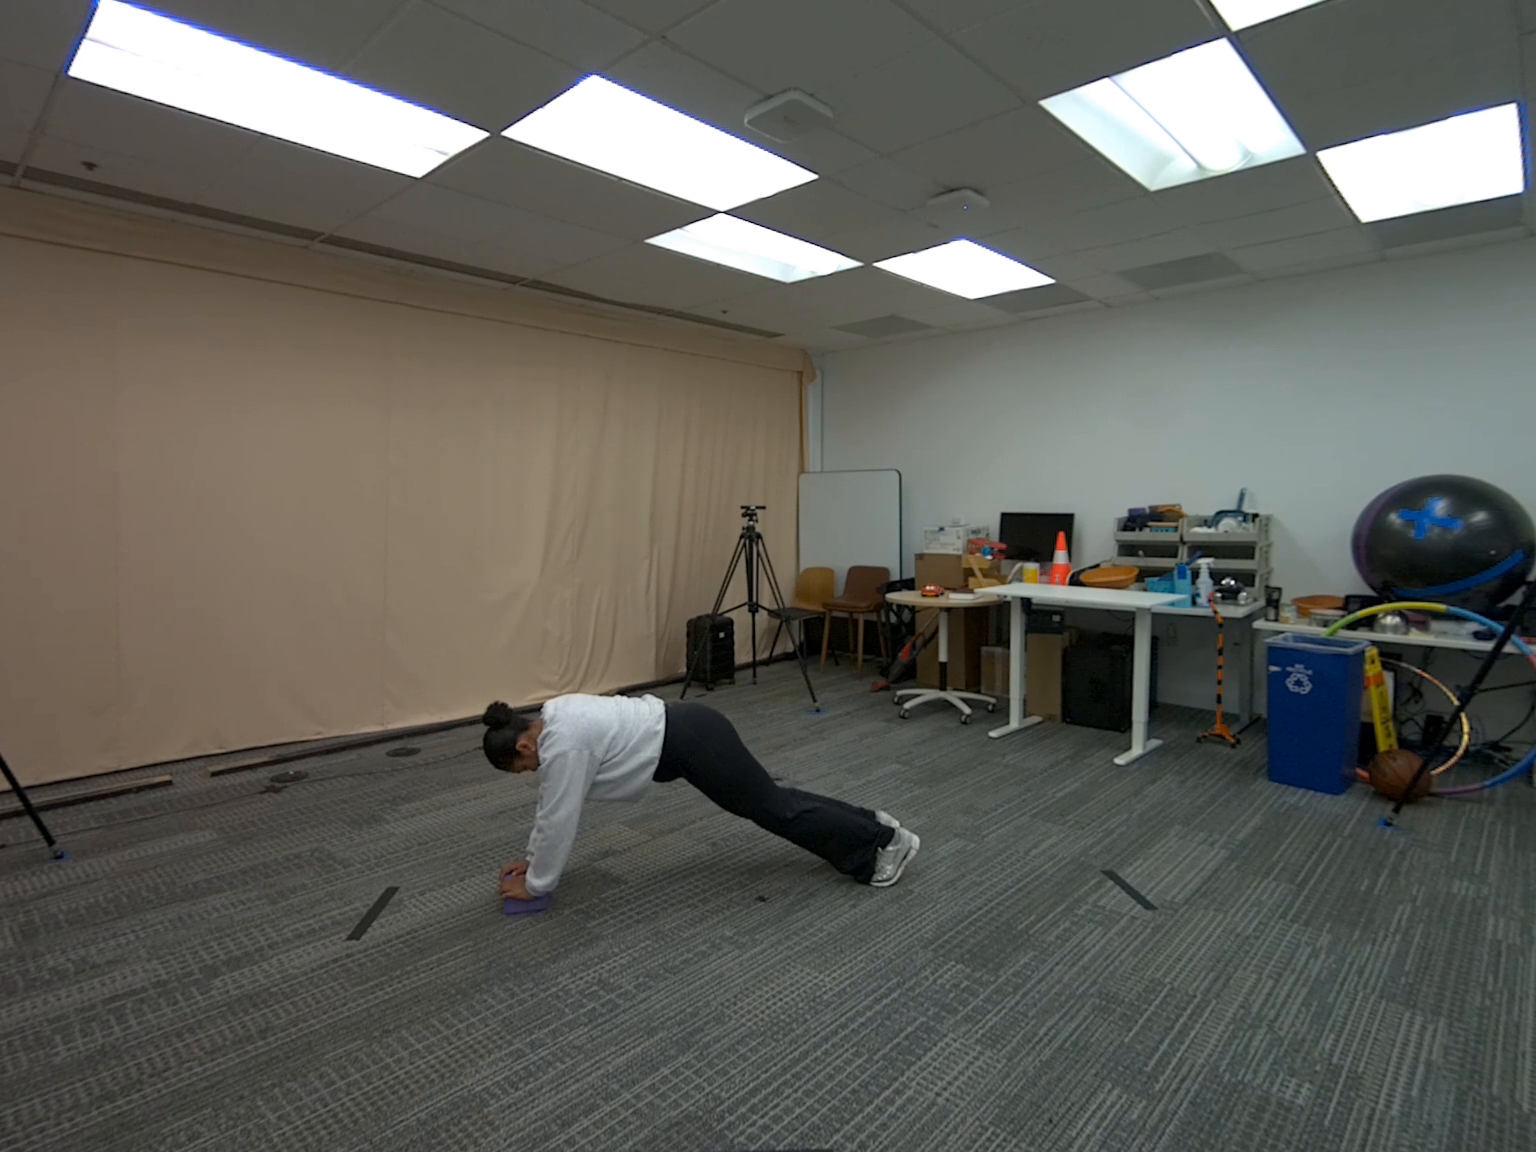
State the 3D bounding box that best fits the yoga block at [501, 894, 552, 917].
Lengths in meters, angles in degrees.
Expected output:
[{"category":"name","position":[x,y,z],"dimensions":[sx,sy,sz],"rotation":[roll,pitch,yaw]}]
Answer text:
[{"category":"yoga block","position":[-0.866,1.123,2.997],"dimensions":[0.147,0.076,0.233],"rotation":[-1,5,-15]}]
